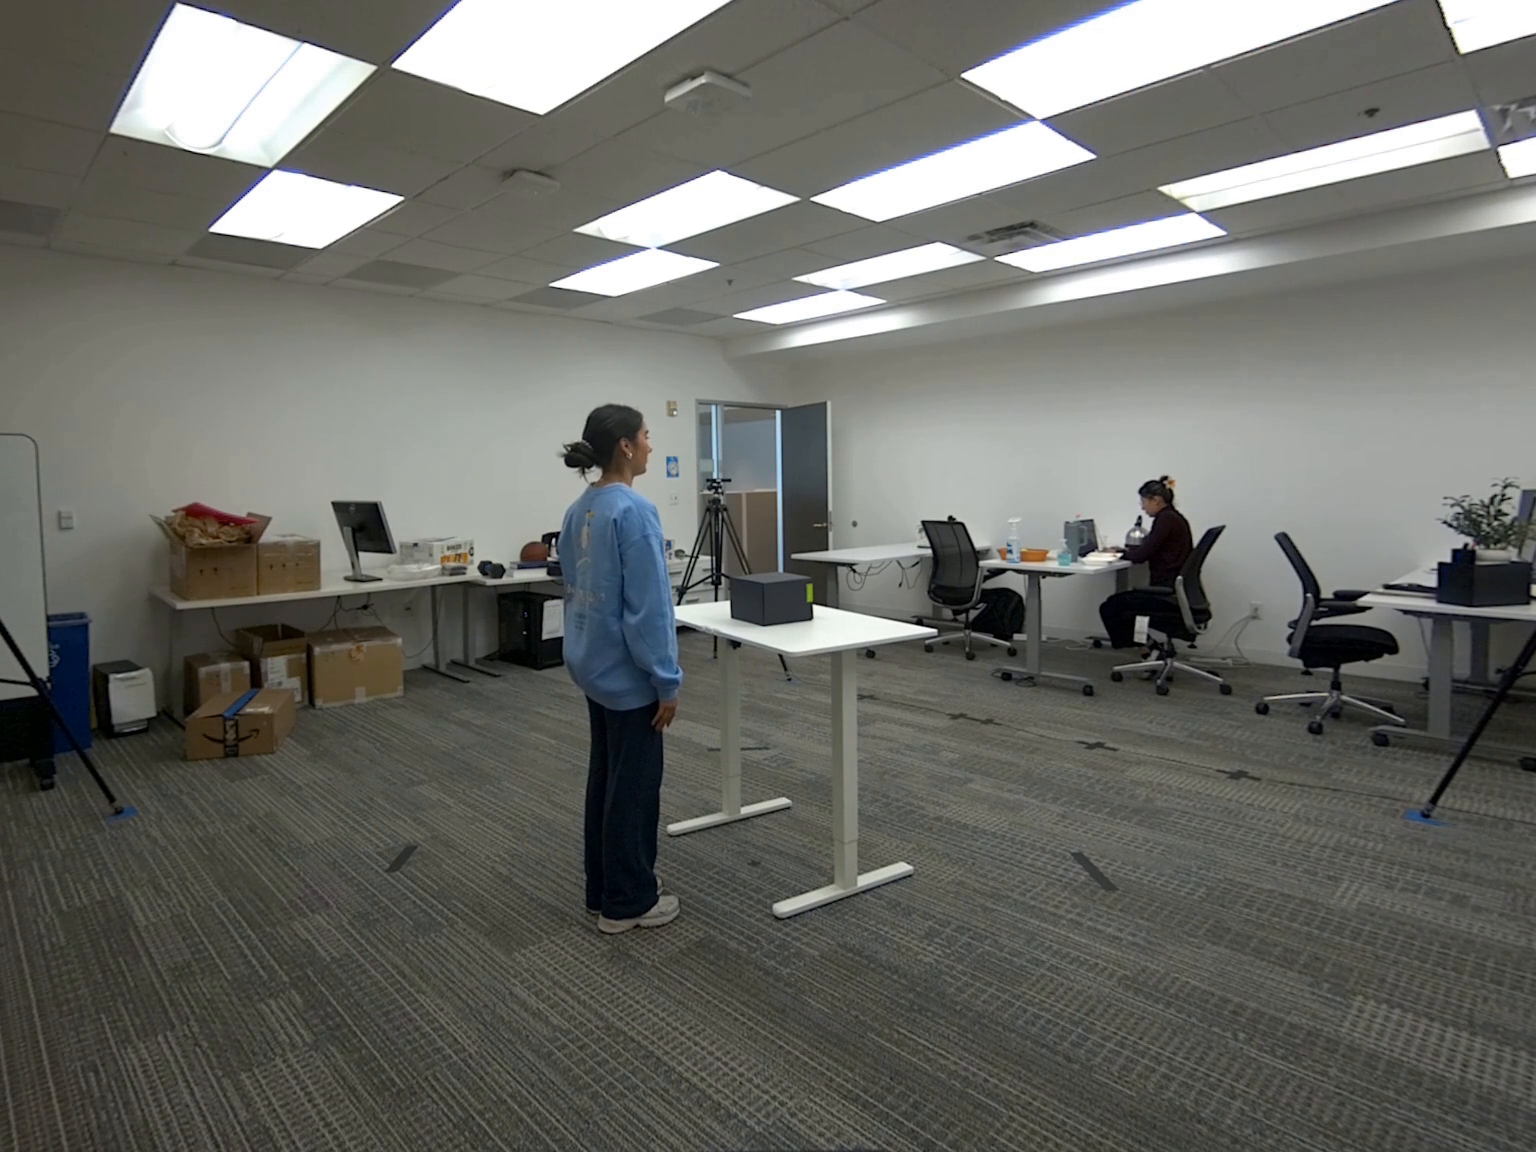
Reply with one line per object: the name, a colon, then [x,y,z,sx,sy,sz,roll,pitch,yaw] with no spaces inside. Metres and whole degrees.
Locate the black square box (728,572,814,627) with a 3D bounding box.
black square box: [0.004,0.081,3.117,0.212,0.155,0.234,-5,7,-32]
